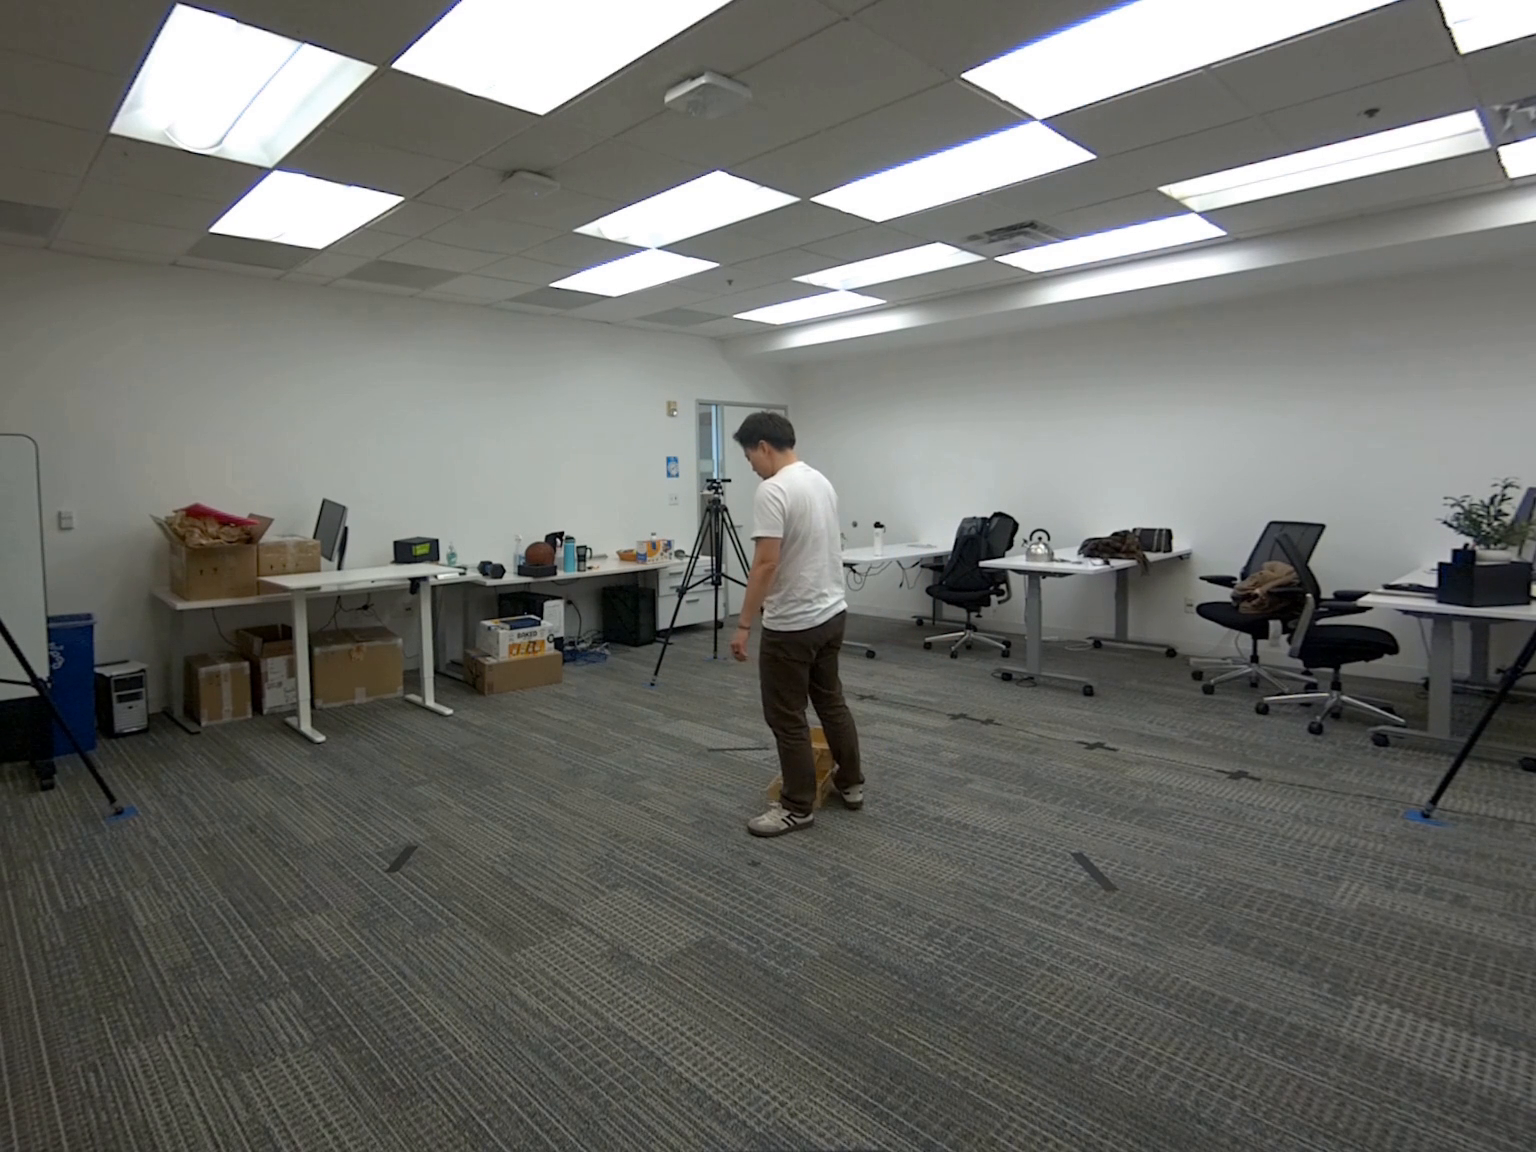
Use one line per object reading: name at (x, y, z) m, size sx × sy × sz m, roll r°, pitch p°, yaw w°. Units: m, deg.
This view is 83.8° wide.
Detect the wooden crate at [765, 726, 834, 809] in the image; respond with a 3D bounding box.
wooden crate at (0.154, 0.836, 3.791) m, size 0.307 × 0.272 × 0.320 m, roll 1°, pitch 5°, yaw 17°
